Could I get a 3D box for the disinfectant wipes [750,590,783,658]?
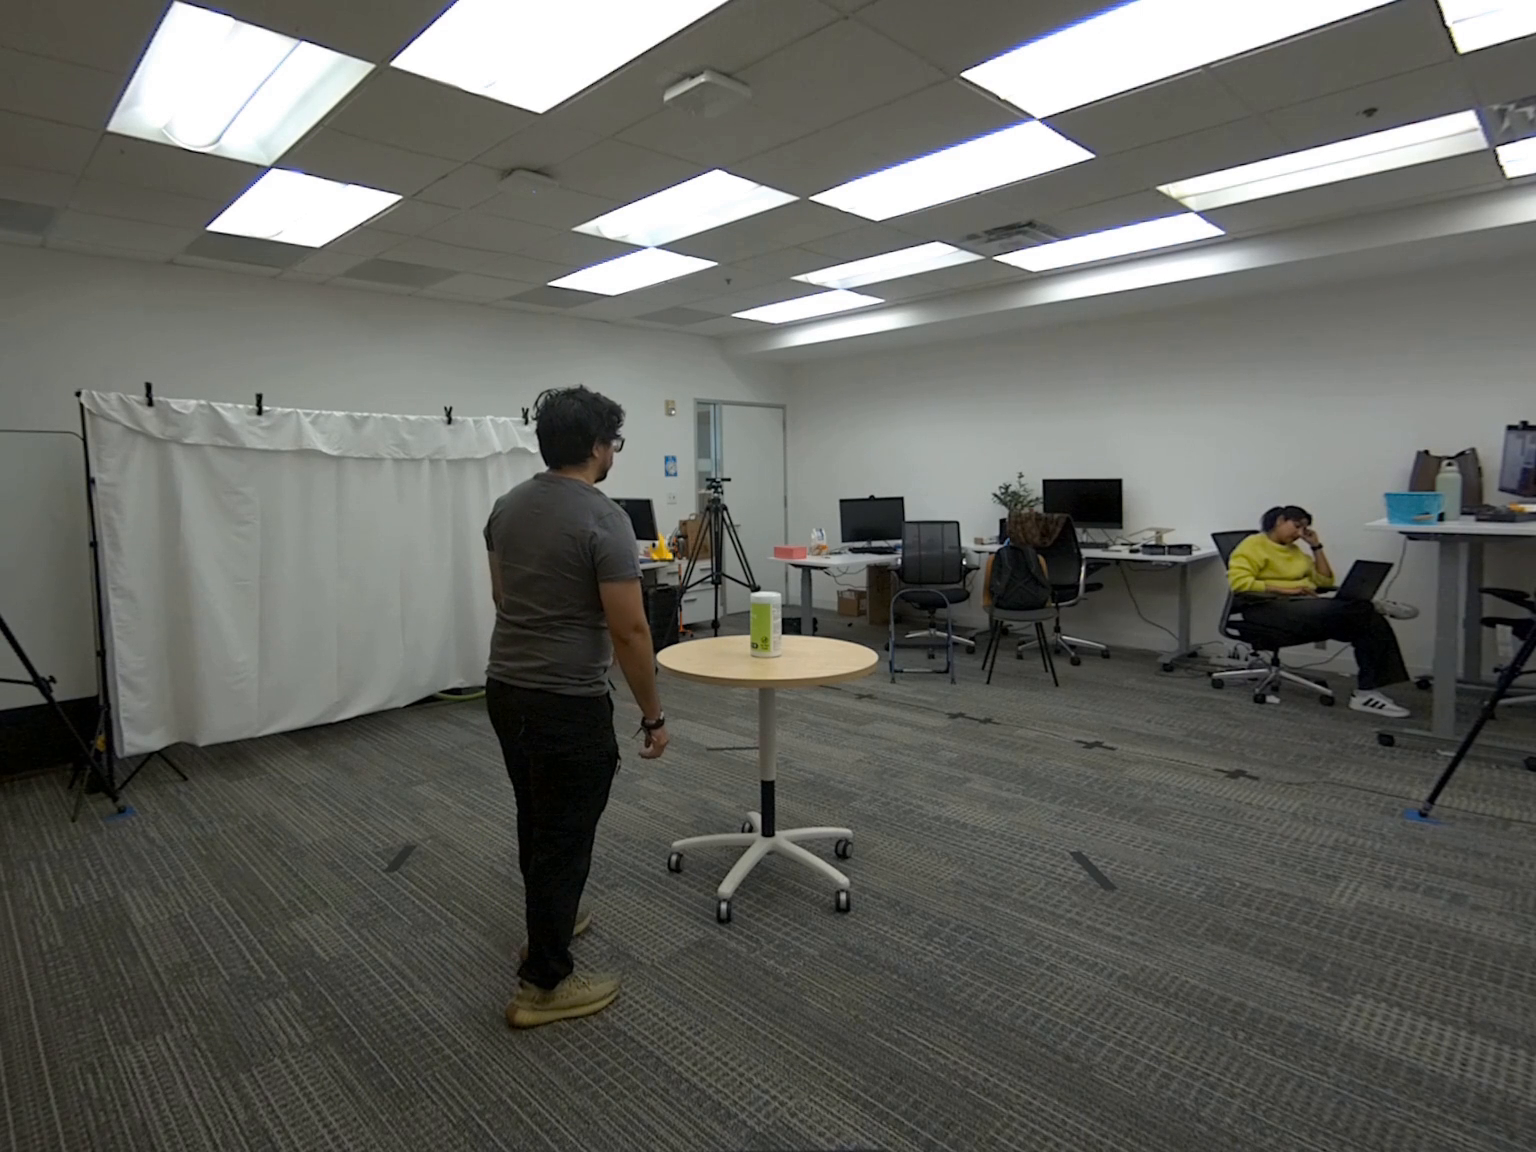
[{"bbox_3d":[-0.004,0.168,2.961,0.118,0.217,0.118,-1,3,-2],"label":"disinfectant wipes"}]
